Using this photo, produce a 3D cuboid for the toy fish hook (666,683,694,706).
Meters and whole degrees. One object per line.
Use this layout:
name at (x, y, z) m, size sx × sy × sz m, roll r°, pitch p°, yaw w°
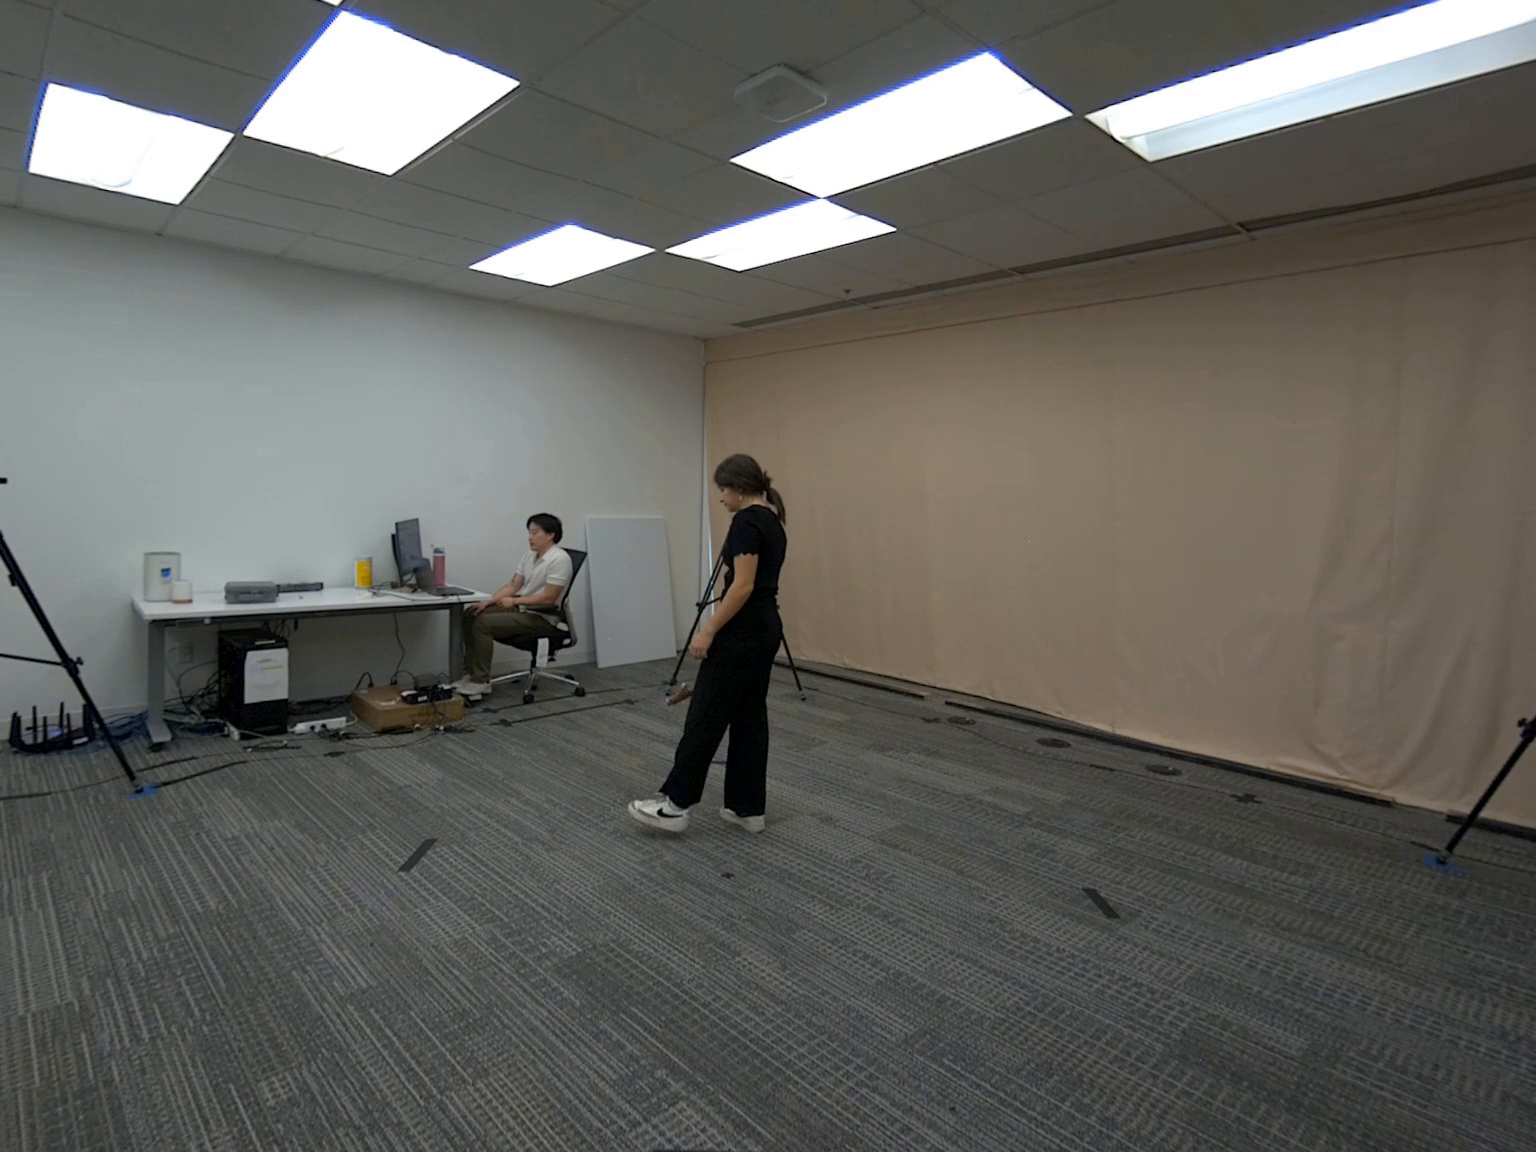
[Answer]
toy fish hook at (-0.221, 0.497, 3.763) m, size 0.508 × 0.224 × 0.048 m, roll -31°, pitch 0°, yaw 7°
